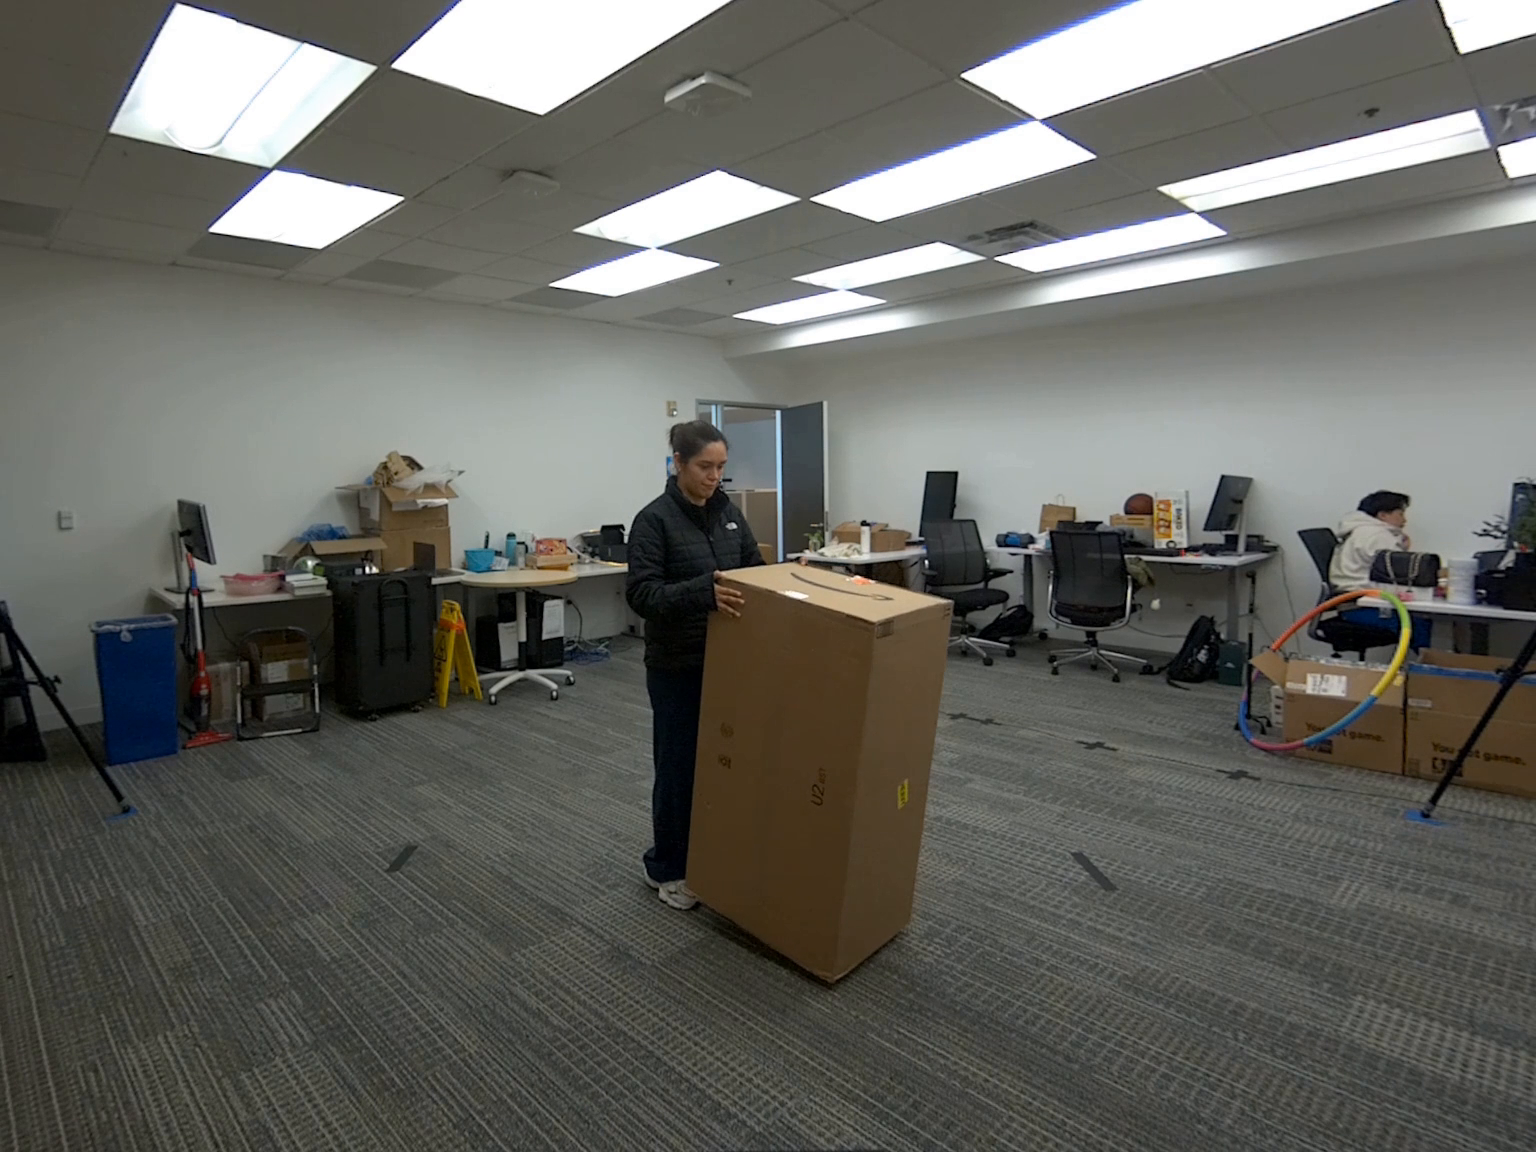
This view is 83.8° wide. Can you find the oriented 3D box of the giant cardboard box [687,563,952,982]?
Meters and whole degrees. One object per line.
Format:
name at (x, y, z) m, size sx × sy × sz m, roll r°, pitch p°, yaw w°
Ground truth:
giant cardboard box at (0.142, 0.537, 2.579) m, size 0.597 × 1.018 × 0.415 m, roll 14°, pitch 13°, yaw 39°
